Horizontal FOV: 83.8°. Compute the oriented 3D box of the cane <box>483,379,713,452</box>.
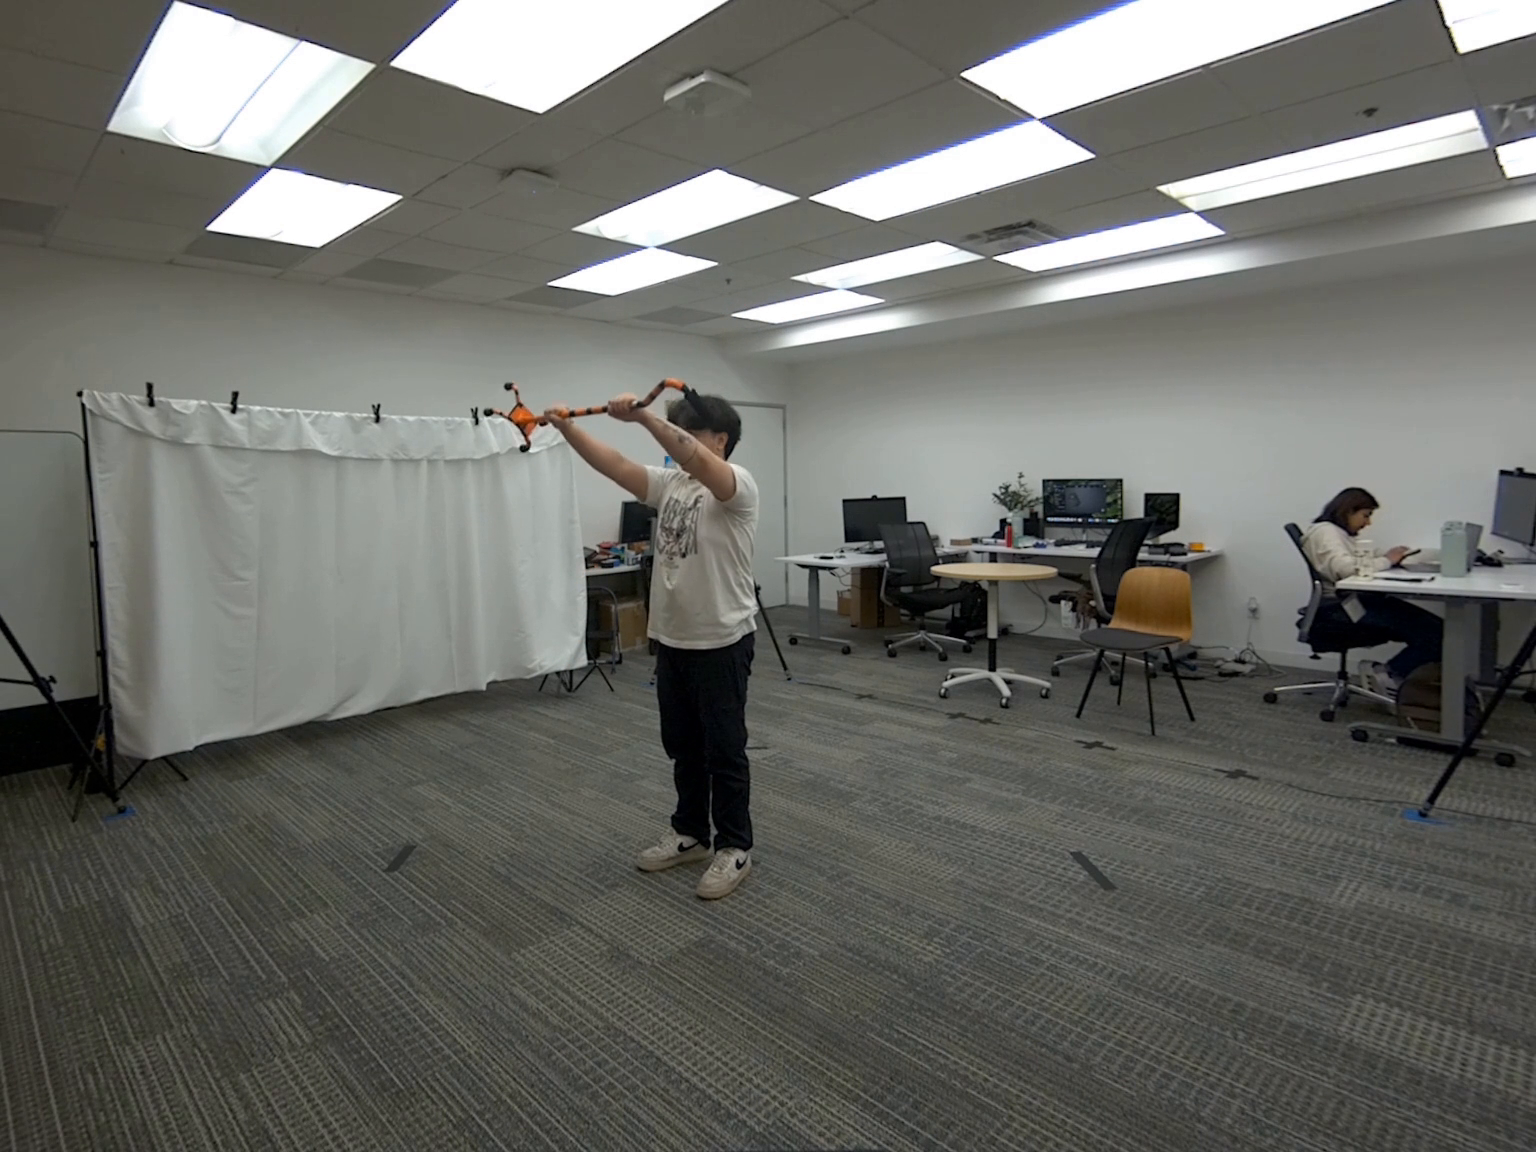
[{"bbox_3d":[-0.520,-0.513,2.607,0.936,0.153,0.199,4,-35,42],"label":"cane"}]
